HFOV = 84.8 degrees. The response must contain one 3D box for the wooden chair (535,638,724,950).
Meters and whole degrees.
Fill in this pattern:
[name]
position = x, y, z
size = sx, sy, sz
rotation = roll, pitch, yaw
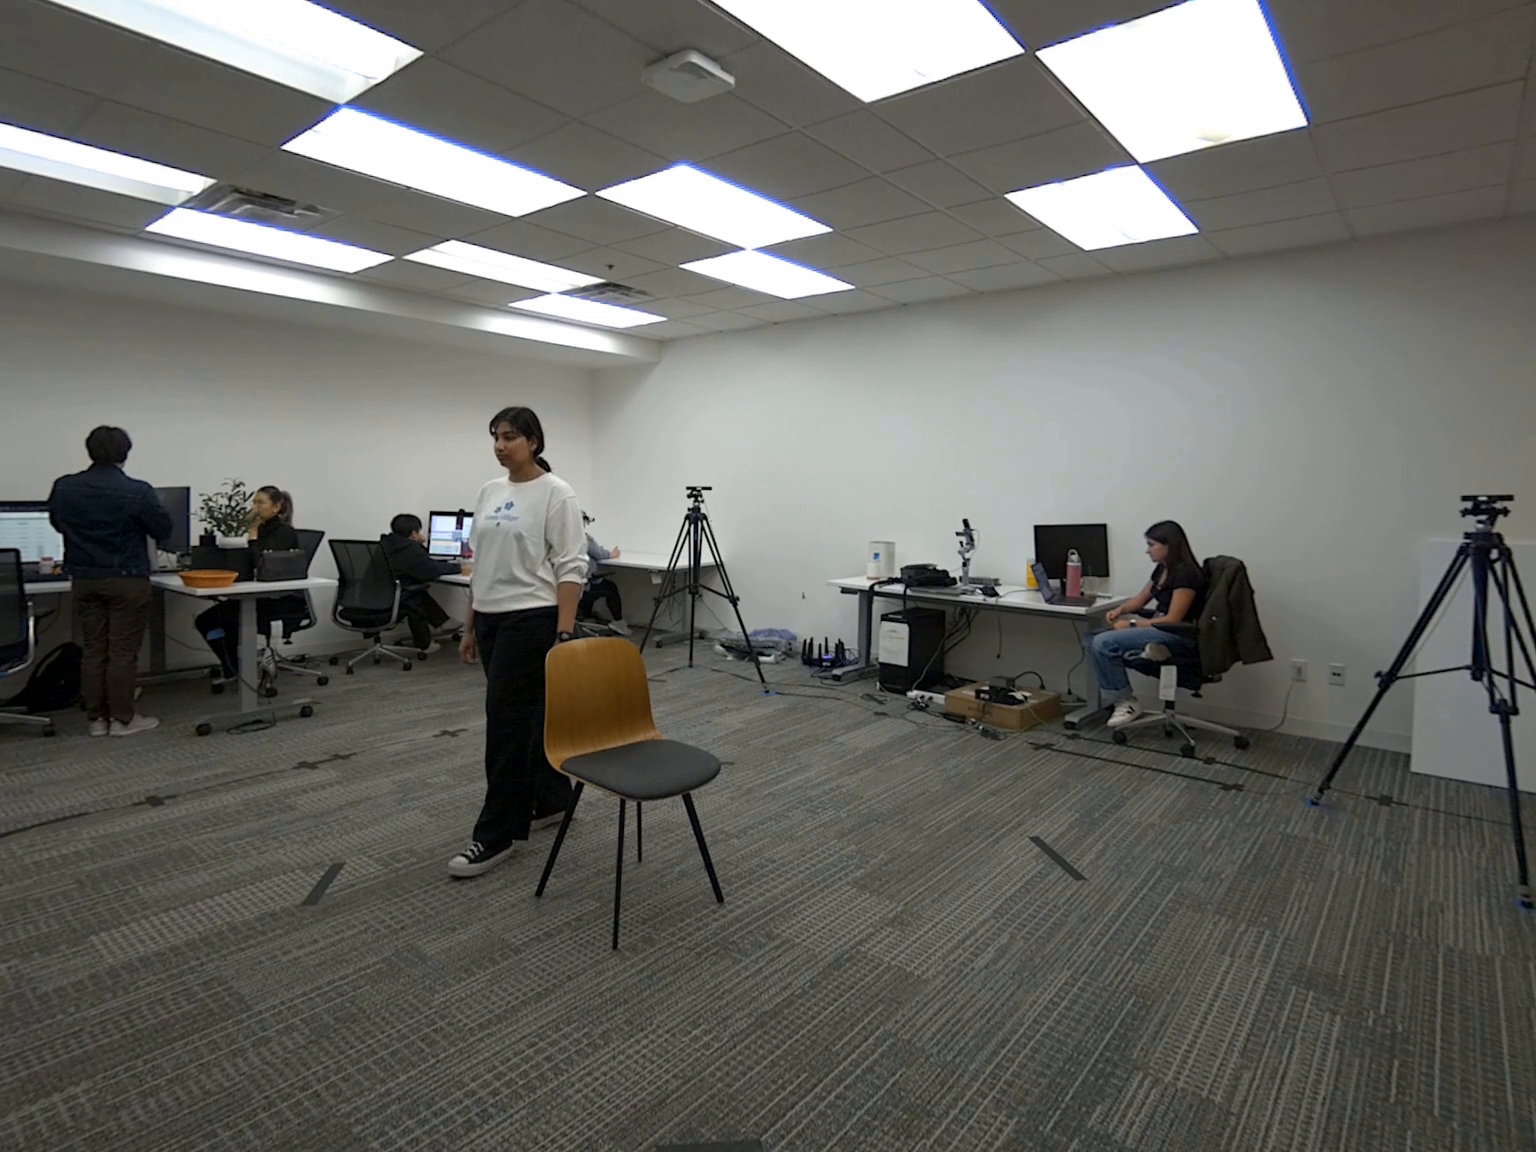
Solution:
[wooden chair]
position = -0.452, 0.662, 2.825
size = 0.463, 0.878, 0.539
rotation = -2, 0, -45
